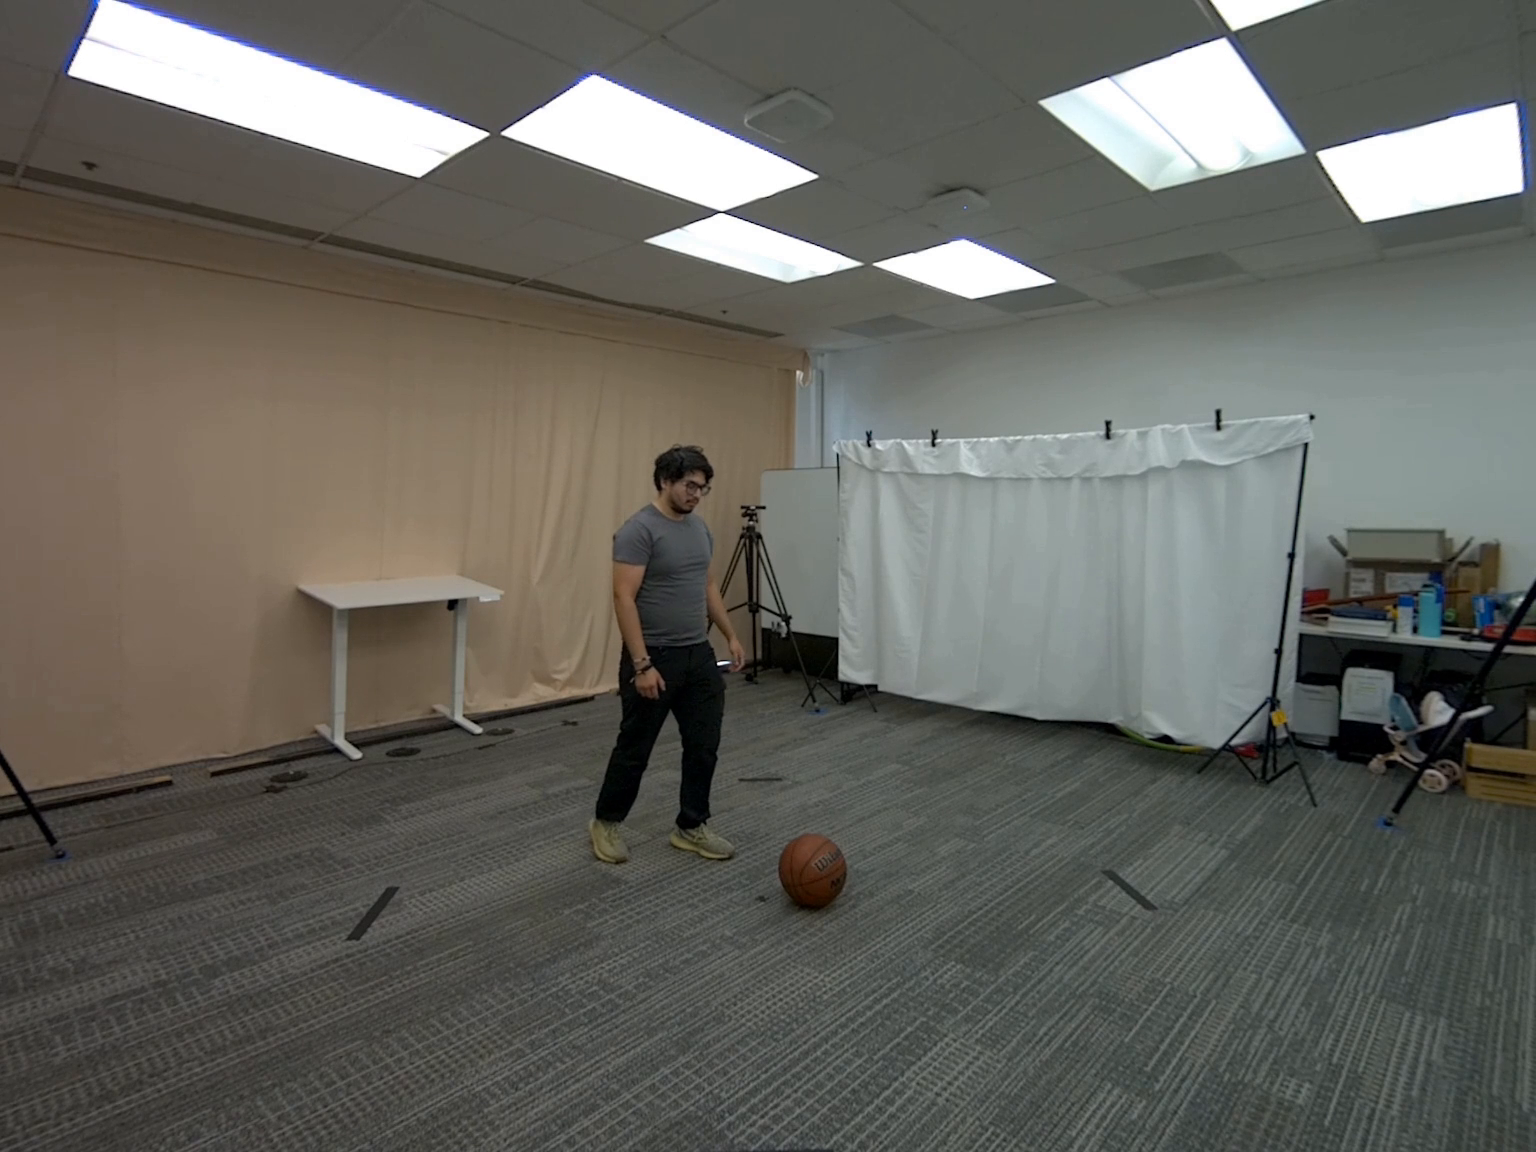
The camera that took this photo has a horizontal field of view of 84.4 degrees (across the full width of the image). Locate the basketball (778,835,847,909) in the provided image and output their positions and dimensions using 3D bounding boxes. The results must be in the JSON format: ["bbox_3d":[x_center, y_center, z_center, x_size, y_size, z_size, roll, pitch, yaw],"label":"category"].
[{"bbox_3d":[0.158,1.026,2.949,0.236,0.235,0.237,0,4,-2],"label":"basketball"}]
